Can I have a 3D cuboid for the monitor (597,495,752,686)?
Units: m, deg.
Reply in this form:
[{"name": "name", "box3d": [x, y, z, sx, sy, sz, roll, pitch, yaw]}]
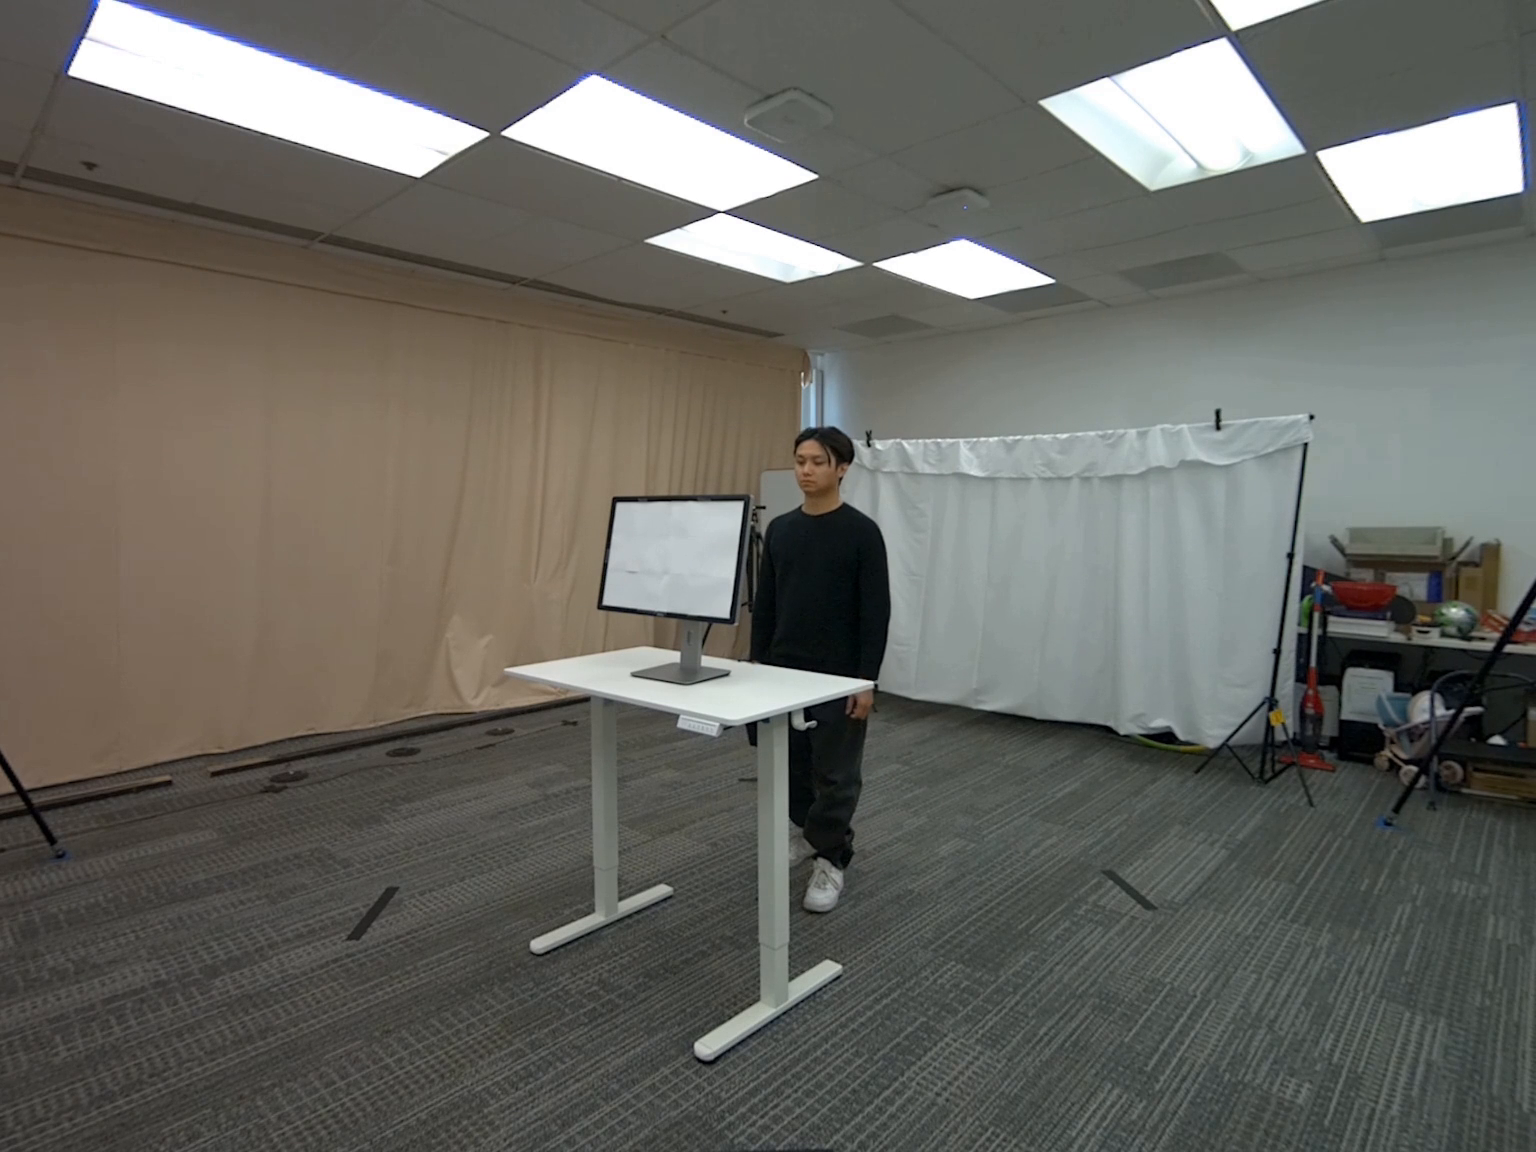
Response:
[{"name": "monitor", "box3d": [-0.267, 0.033, 2.518, 0.547, 0.513, 0.170, 5, 11, 37]}]
